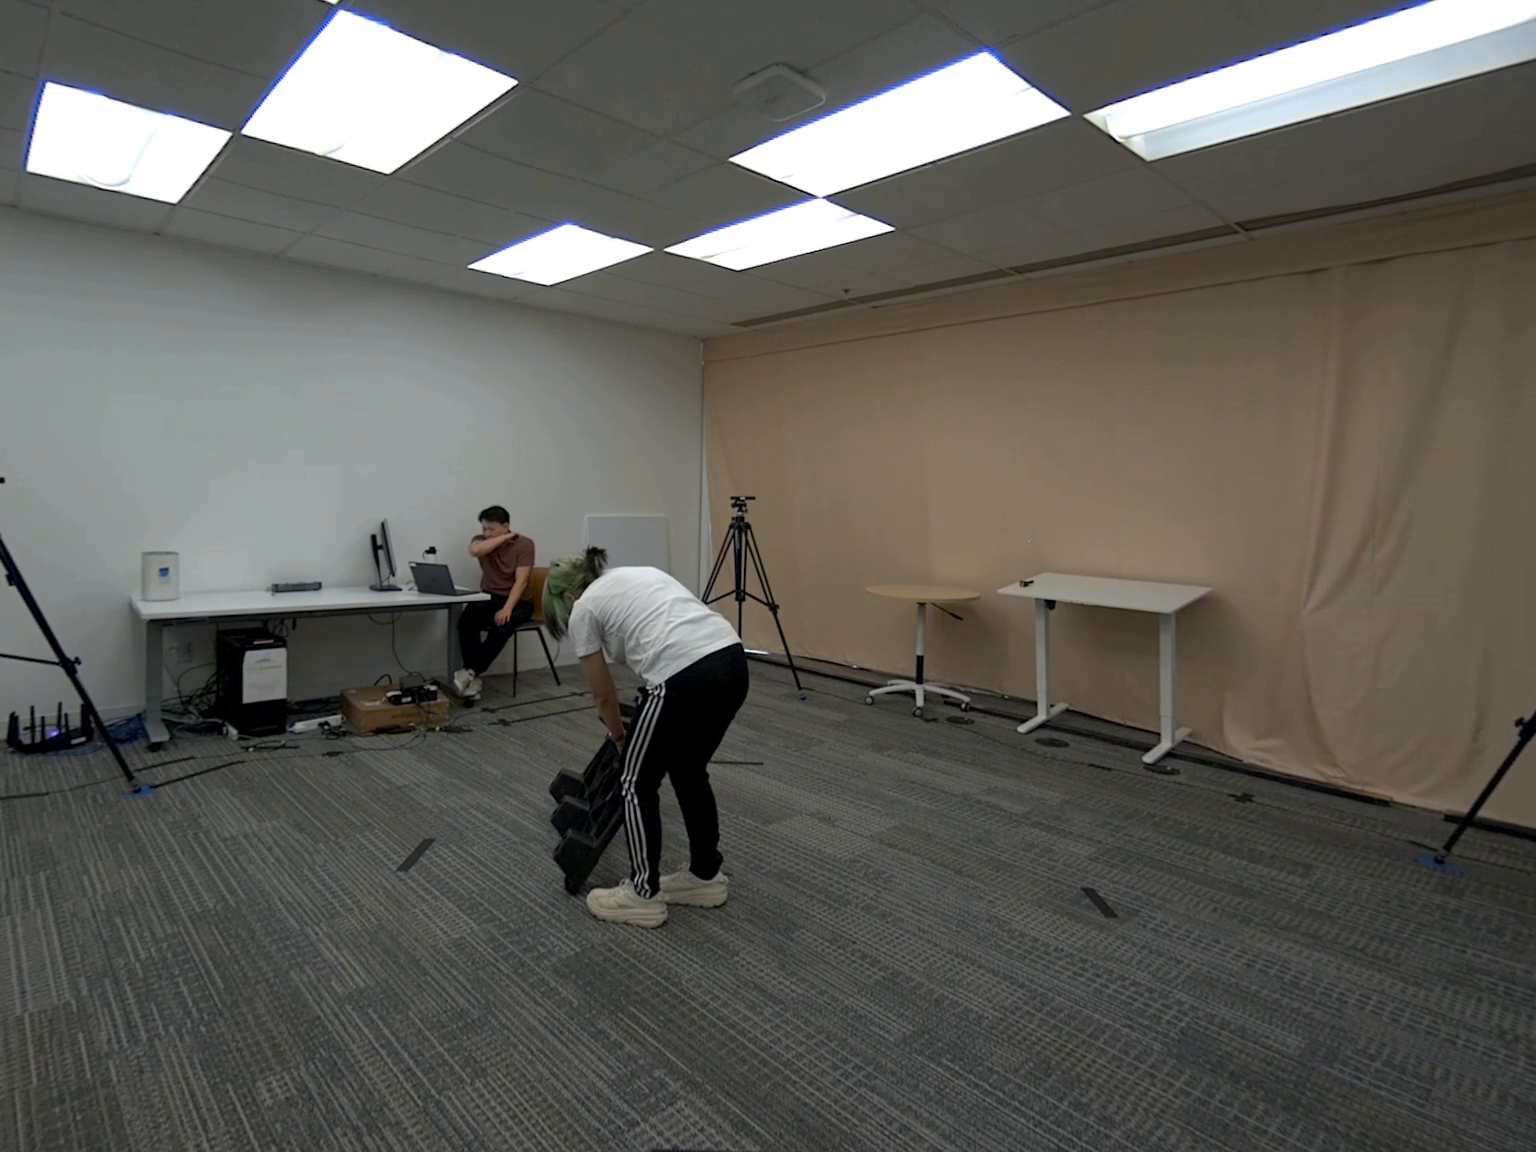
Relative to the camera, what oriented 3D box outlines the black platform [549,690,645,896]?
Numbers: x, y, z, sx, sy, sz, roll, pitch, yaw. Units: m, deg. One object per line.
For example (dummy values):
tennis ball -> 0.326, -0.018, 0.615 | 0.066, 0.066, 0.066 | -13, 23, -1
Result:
black platform -> -0.670, 0.797, 3.314 | 0.141, 0.605, 0.817 | 36, -6, -16
